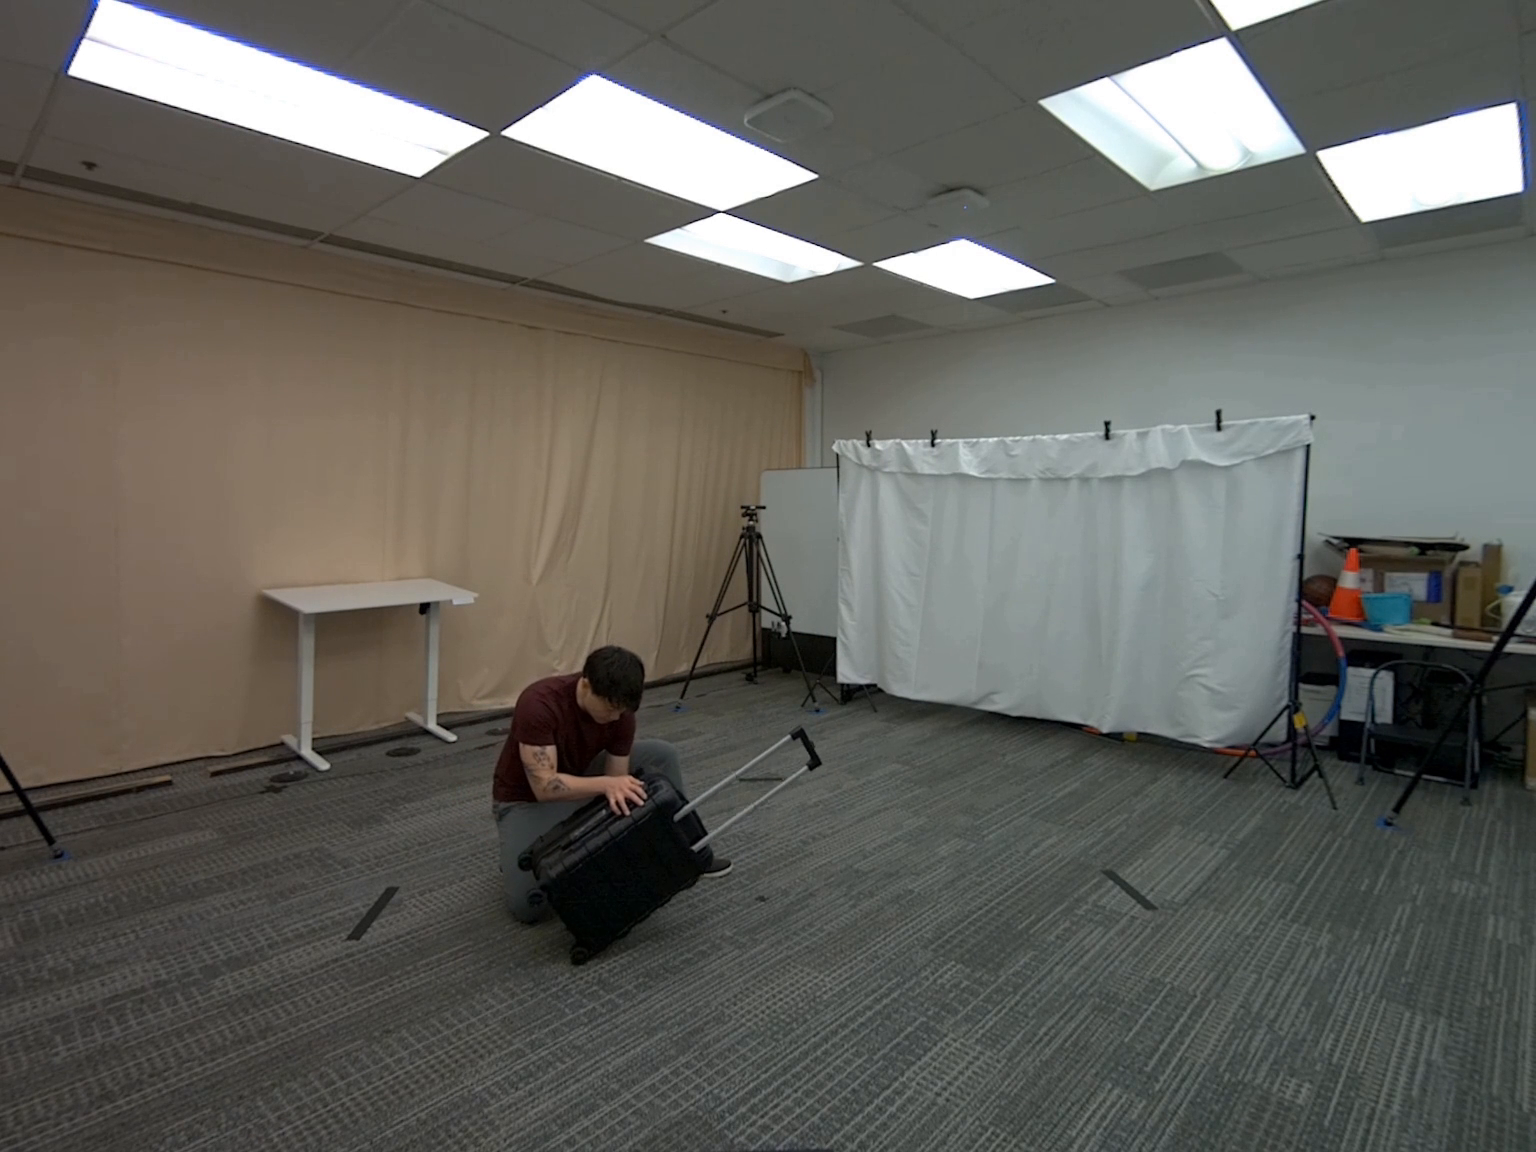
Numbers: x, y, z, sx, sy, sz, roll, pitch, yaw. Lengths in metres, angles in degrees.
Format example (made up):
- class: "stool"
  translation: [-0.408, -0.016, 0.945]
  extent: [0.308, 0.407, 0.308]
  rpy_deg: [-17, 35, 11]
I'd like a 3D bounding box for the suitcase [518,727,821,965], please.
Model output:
- class: "suitcase"
  translation: [-0.297, 0.784, 2.714]
  extent: [0.972, 0.377, 0.263]
  rpy_deg: [-33, 19, -12]
